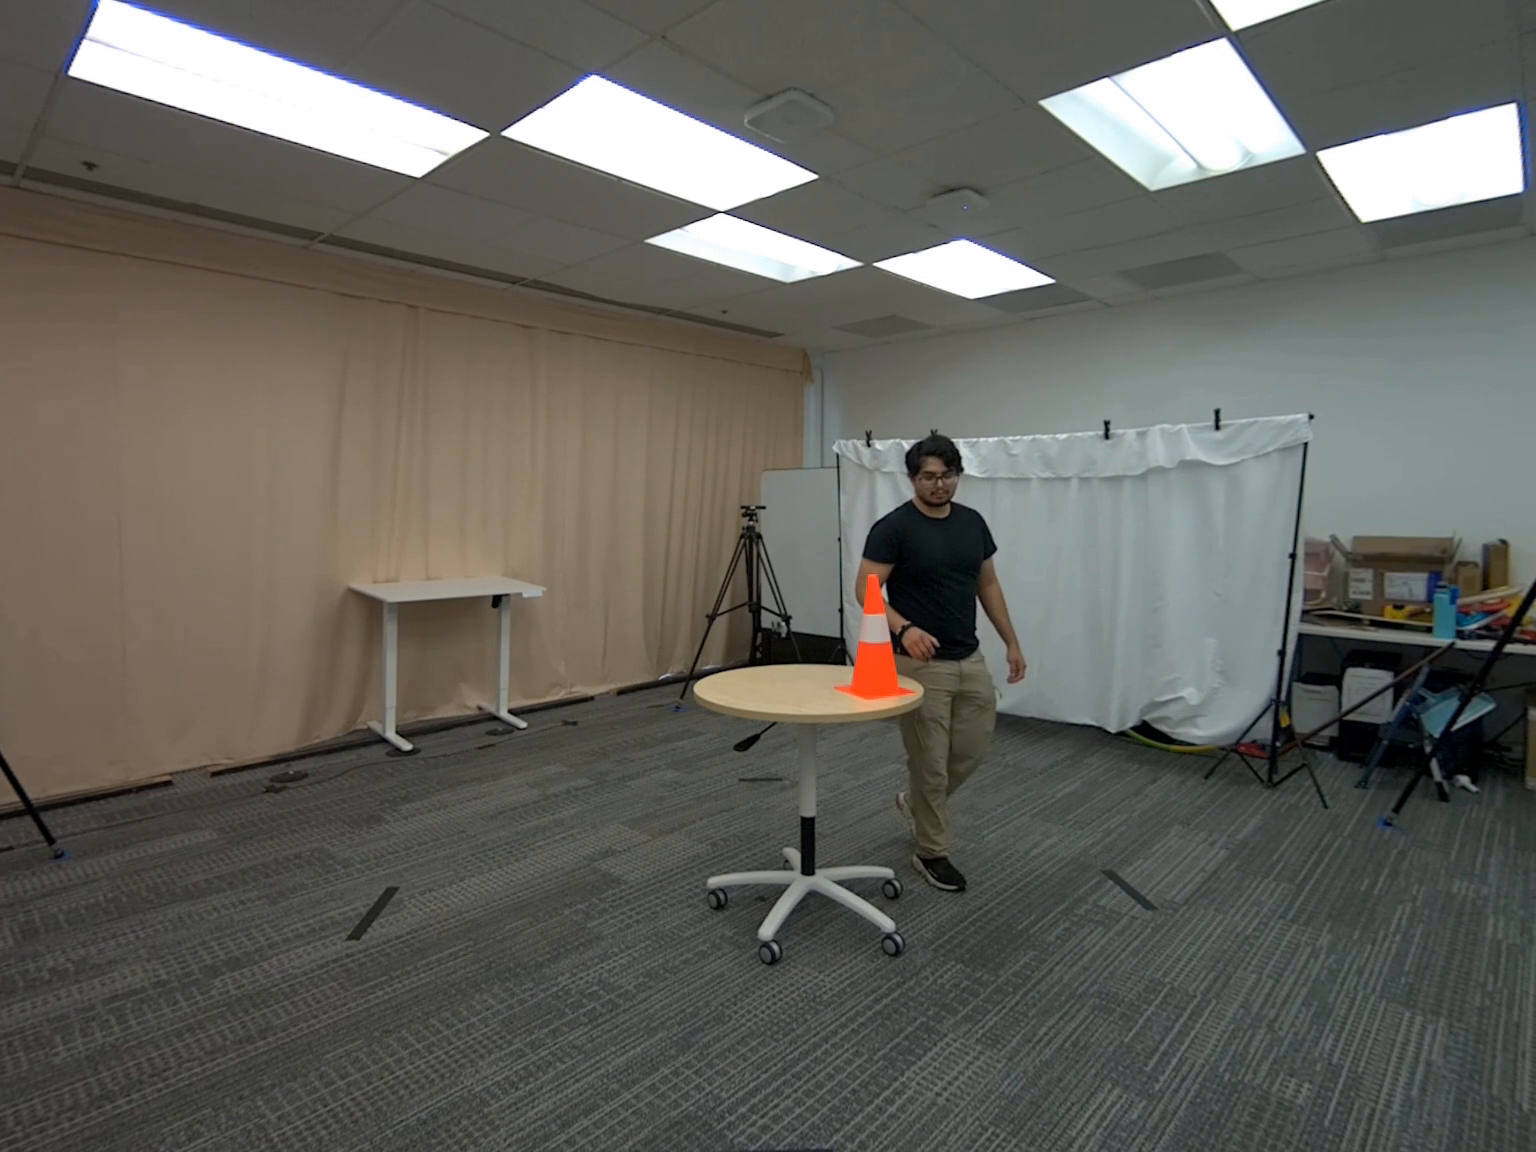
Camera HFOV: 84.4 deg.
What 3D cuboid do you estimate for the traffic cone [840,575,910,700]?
[{"bbox_3d":[0.353,0.189,2.744,0.197,0.383,0.211,-4,3,-34],"label":"traffic cone"}]
